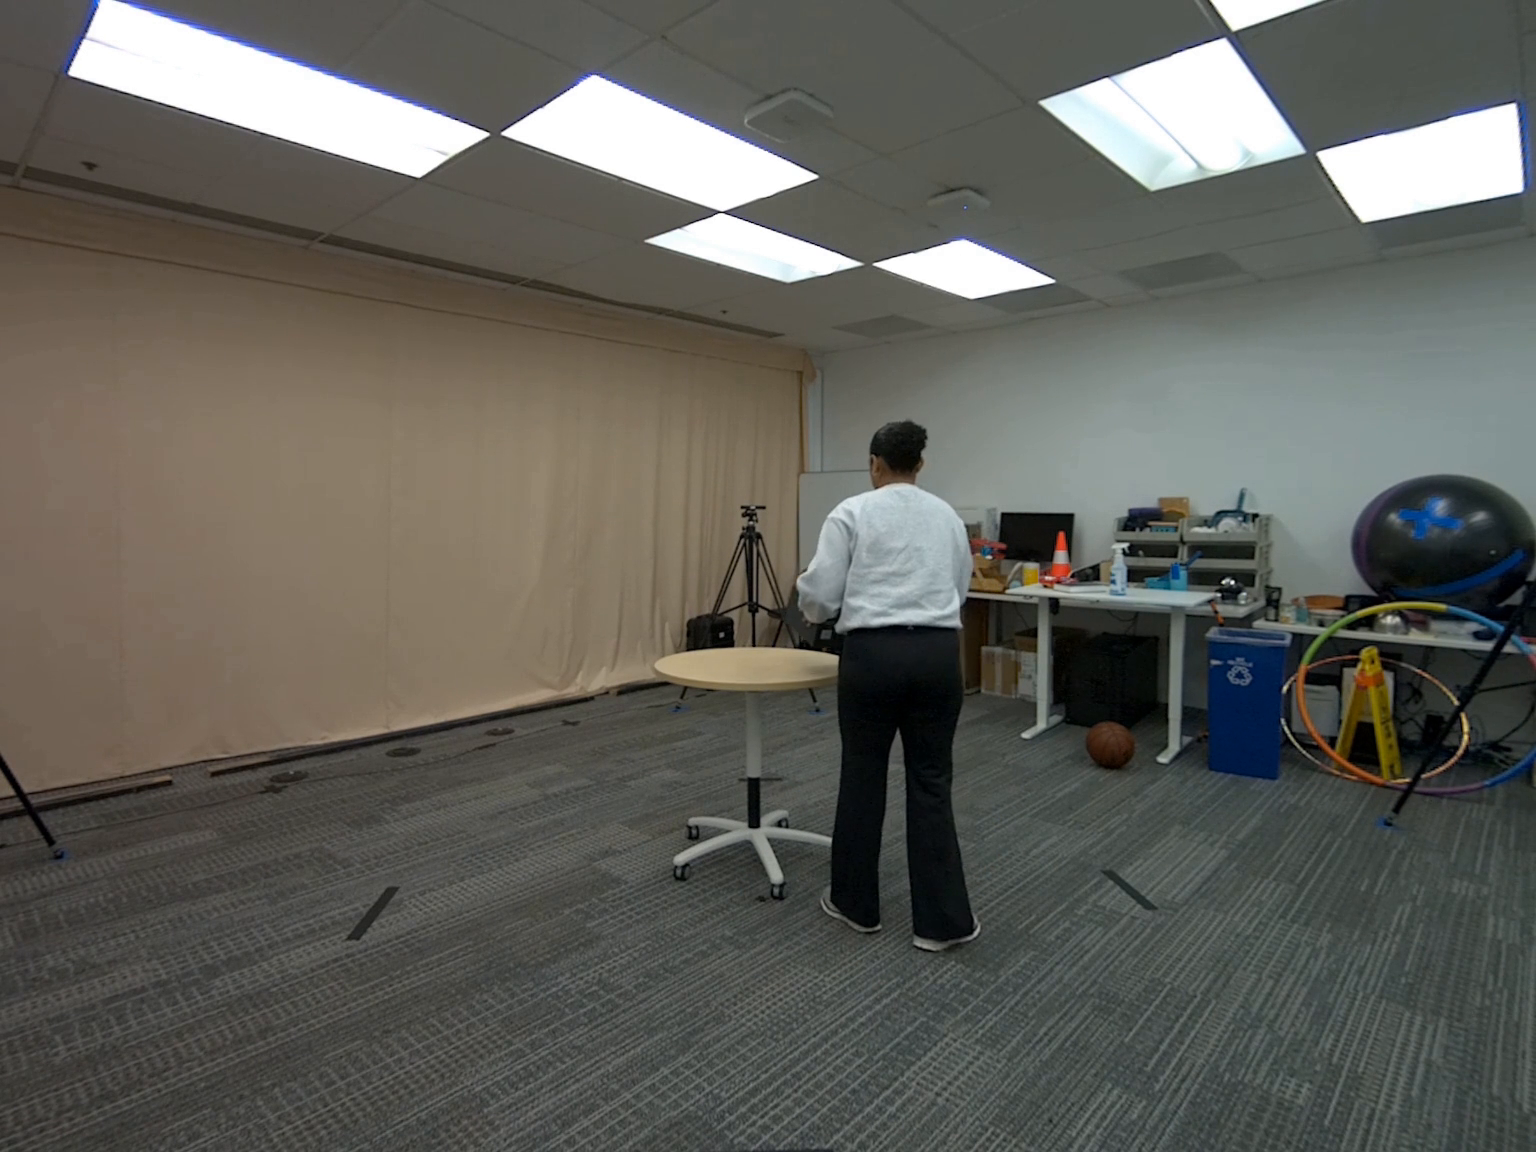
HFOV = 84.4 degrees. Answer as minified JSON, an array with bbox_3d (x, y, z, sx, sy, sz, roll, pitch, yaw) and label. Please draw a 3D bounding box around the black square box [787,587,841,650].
[{"bbox_3d":[0.232,0.149,3.097,0.211,0.155,0.235,4,18,-26],"label":"black square box"}]
